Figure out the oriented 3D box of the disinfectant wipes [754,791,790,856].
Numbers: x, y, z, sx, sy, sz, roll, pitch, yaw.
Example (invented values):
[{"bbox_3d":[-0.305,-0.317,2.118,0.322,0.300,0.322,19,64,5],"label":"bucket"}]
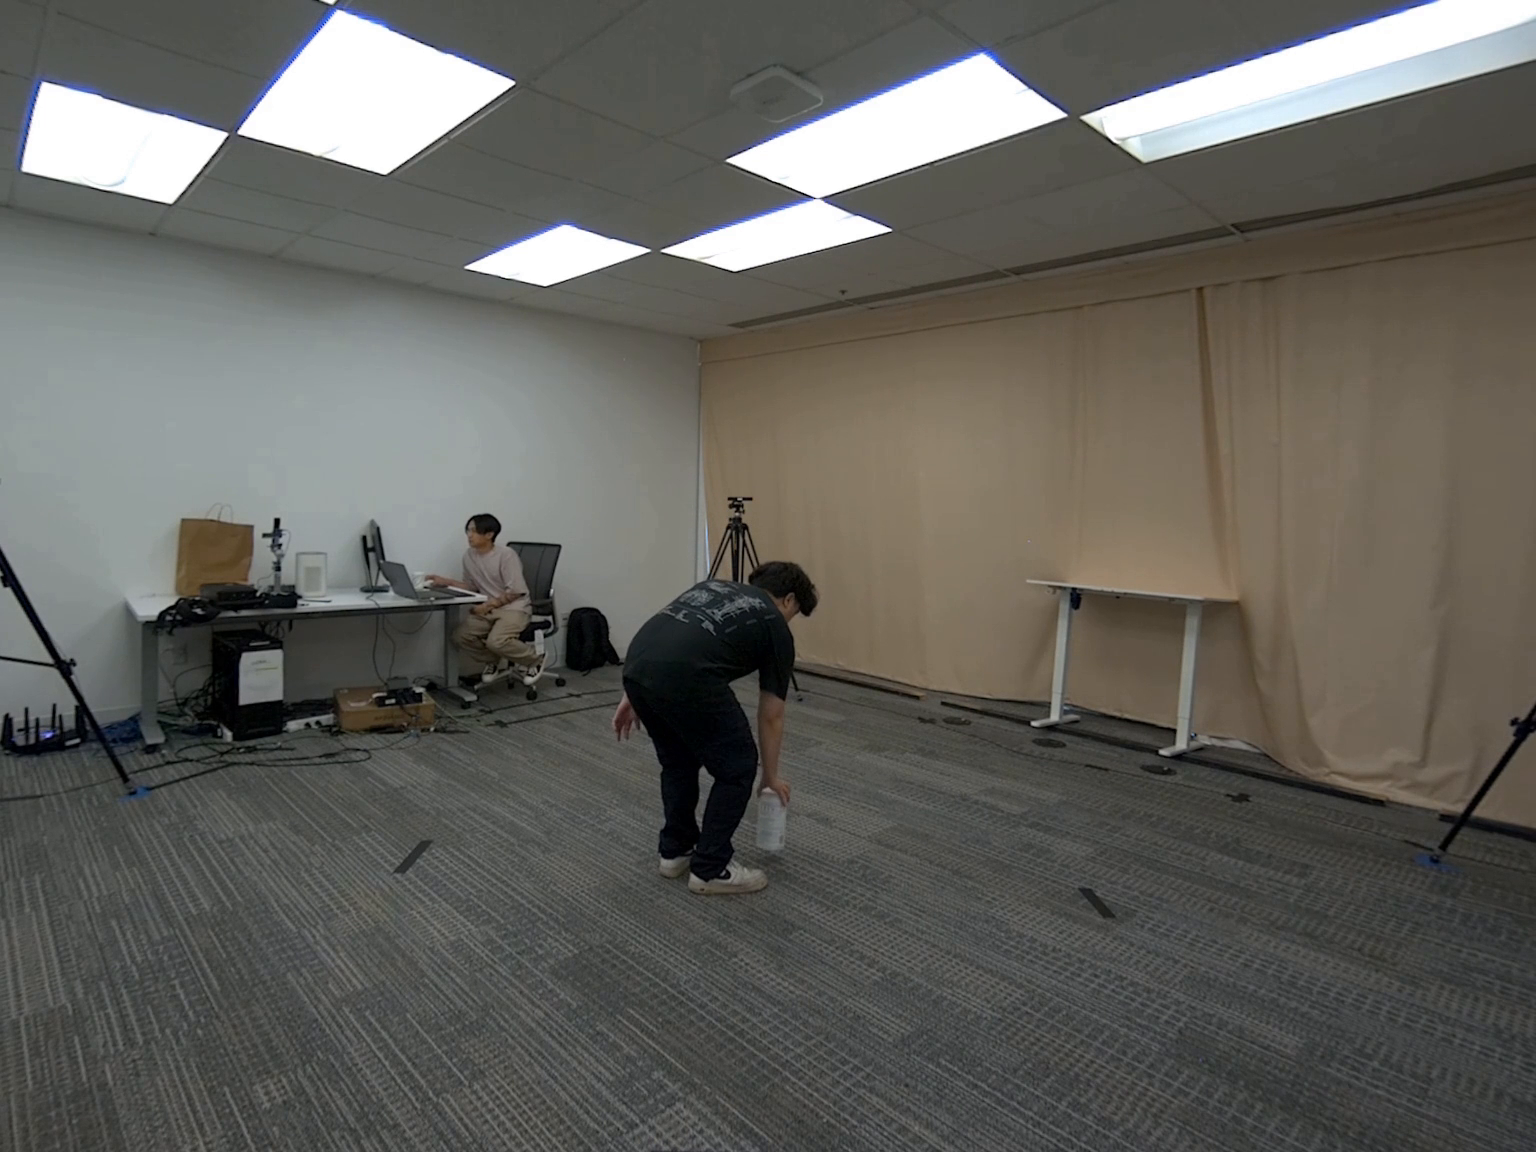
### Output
[{"bbox_3d":[0.012,0.942,3.255,0.118,0.218,0.117,2,-2,-1],"label":"disinfectant wipes"}]
